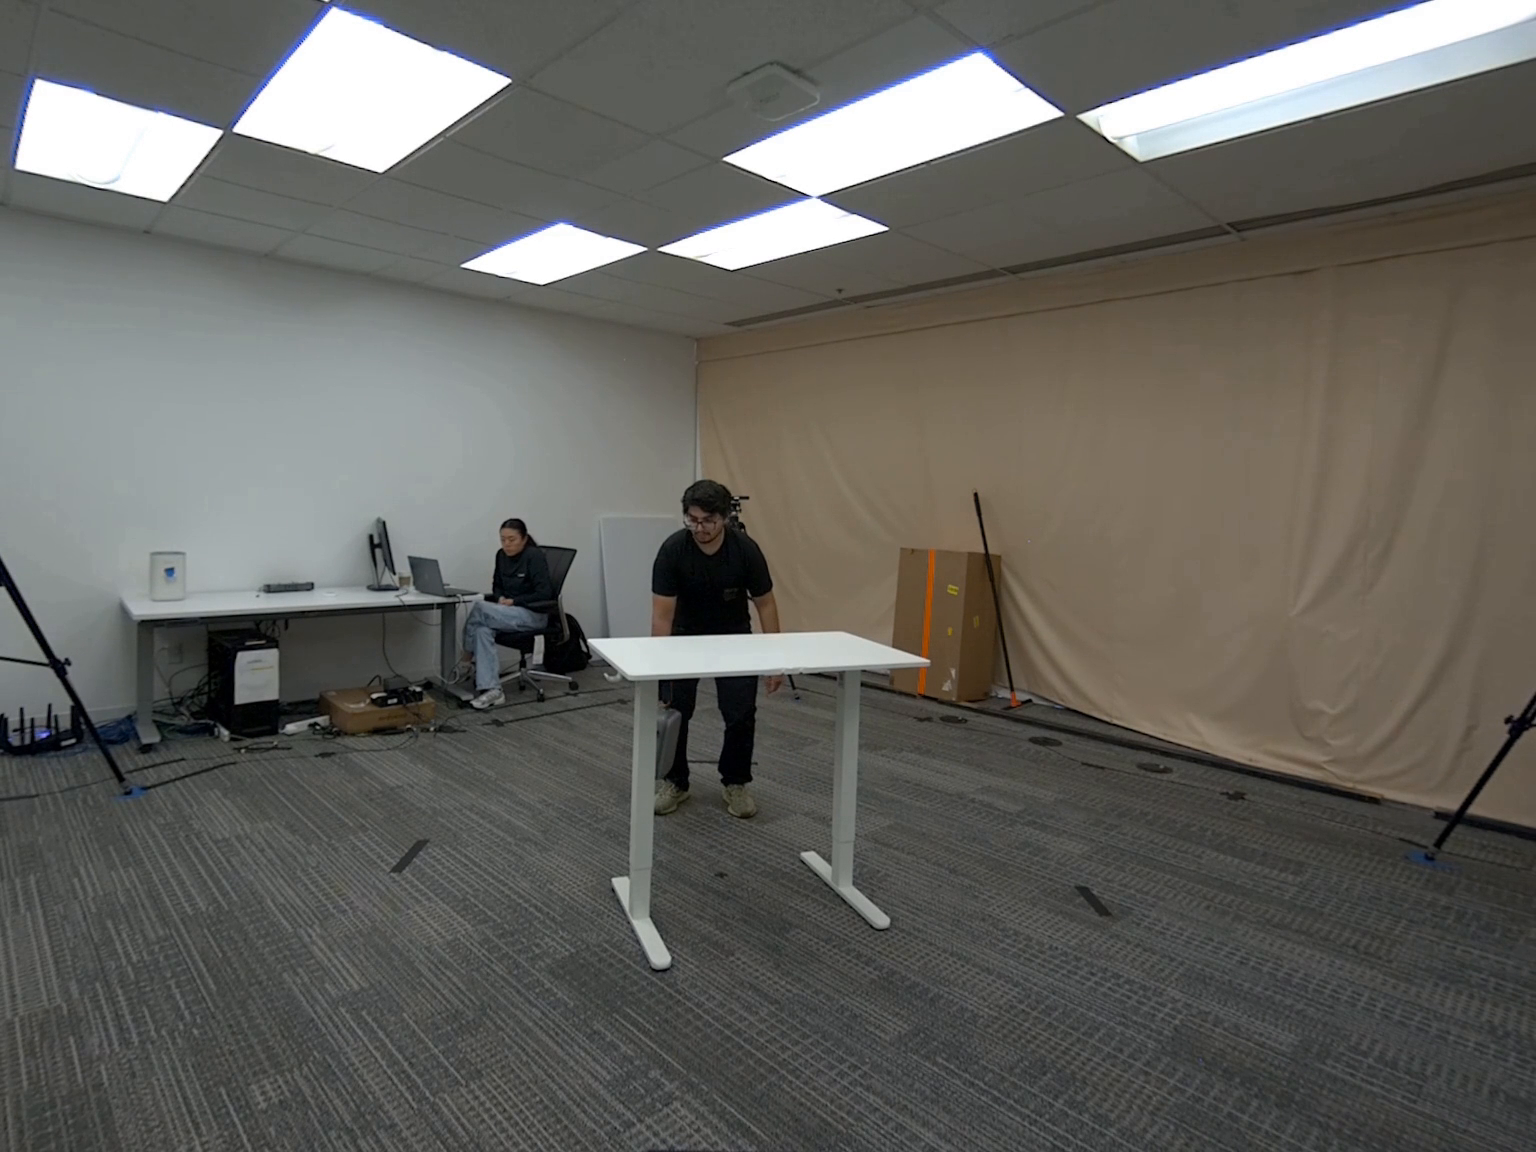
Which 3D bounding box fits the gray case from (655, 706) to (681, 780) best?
[{"bbox_3d":[-0.455,0.692,3.497,0.104,0.261,0.256,6,0,0],"label":"gray case"}]
